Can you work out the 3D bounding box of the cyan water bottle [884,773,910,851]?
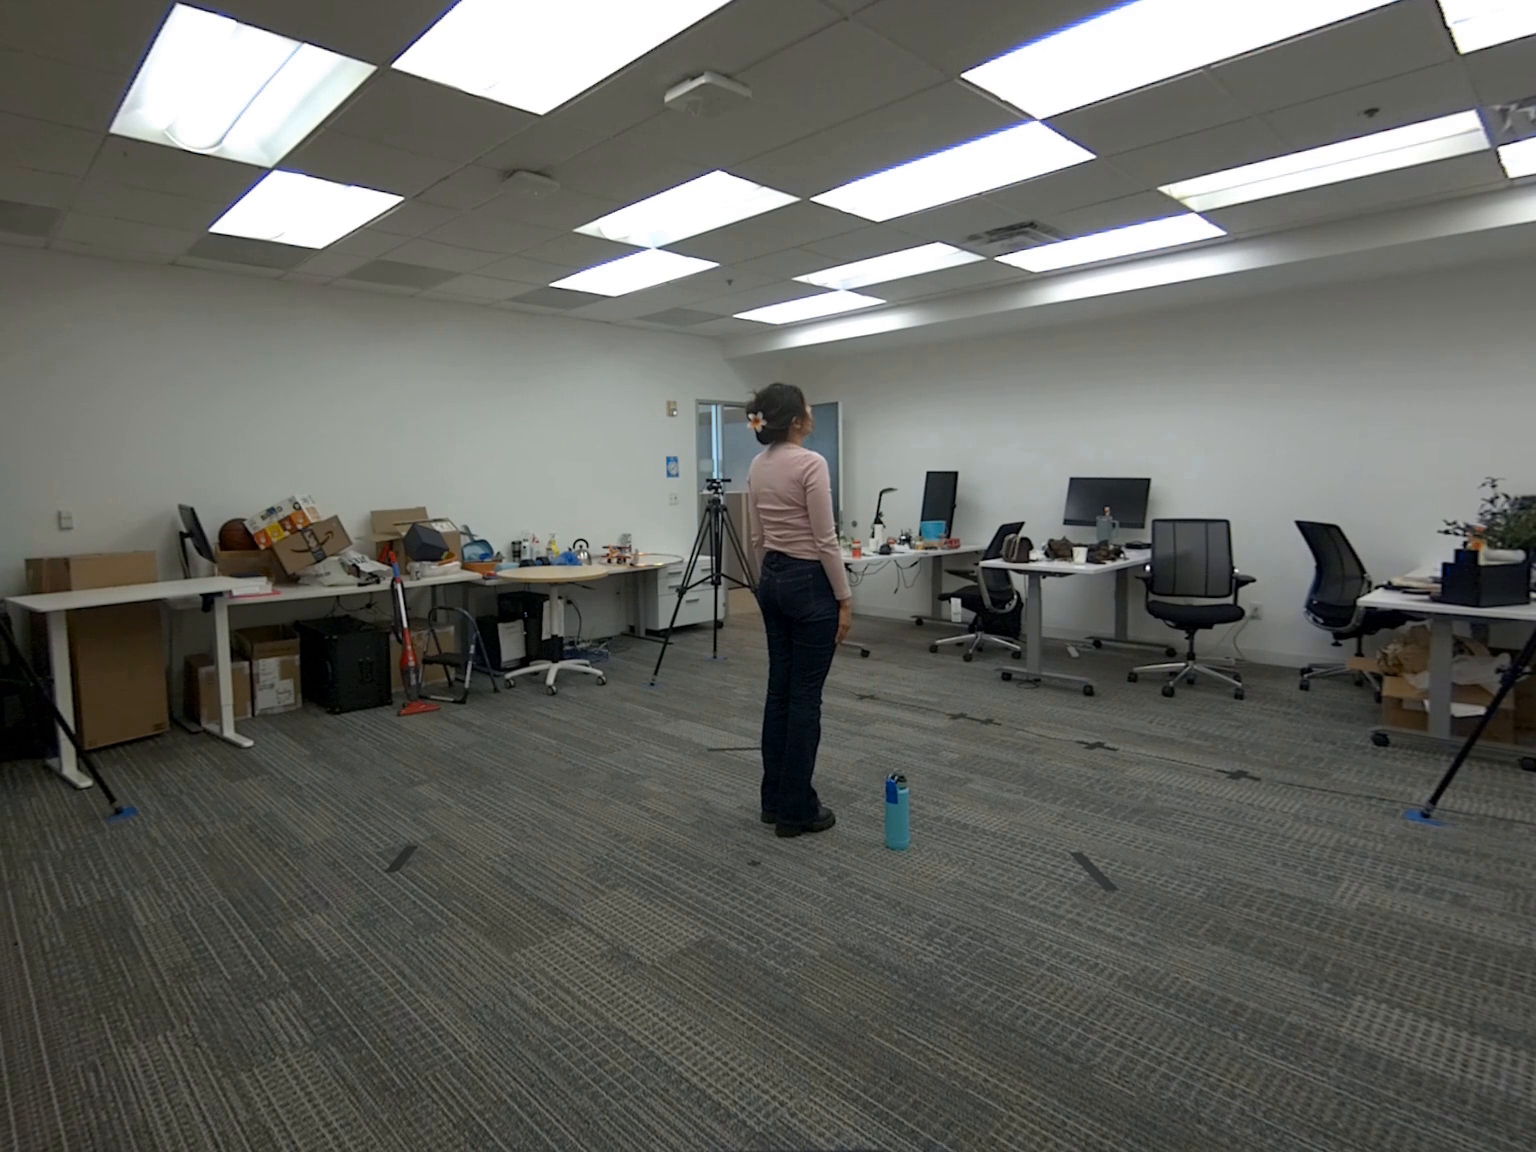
[{"bbox_3d":[0.493,0.883,3.230,0.092,0.282,0.093,-1,4,-2],"label":"cyan water bottle"}]
